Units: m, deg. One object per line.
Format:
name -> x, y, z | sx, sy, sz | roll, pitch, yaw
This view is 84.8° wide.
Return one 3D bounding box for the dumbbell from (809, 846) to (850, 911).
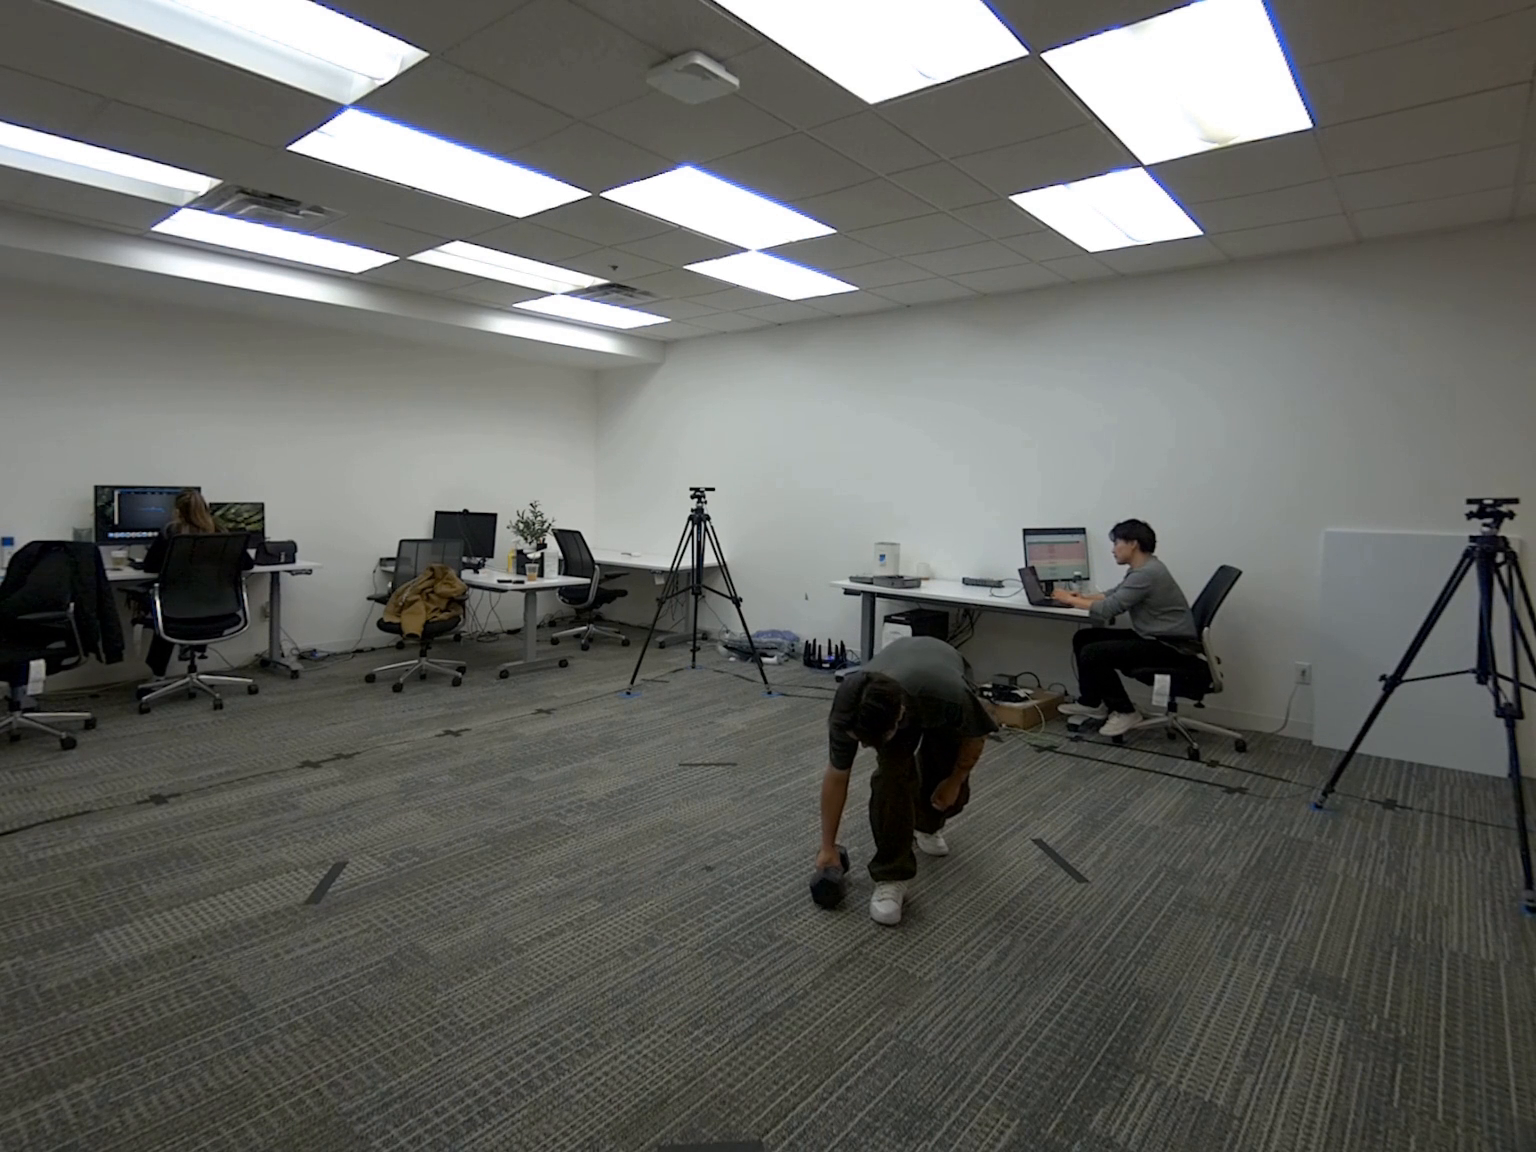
dumbbell -> 0.215, 1.028, 2.953 | 0.125, 0.108, 0.290 | 13, 7, 10
